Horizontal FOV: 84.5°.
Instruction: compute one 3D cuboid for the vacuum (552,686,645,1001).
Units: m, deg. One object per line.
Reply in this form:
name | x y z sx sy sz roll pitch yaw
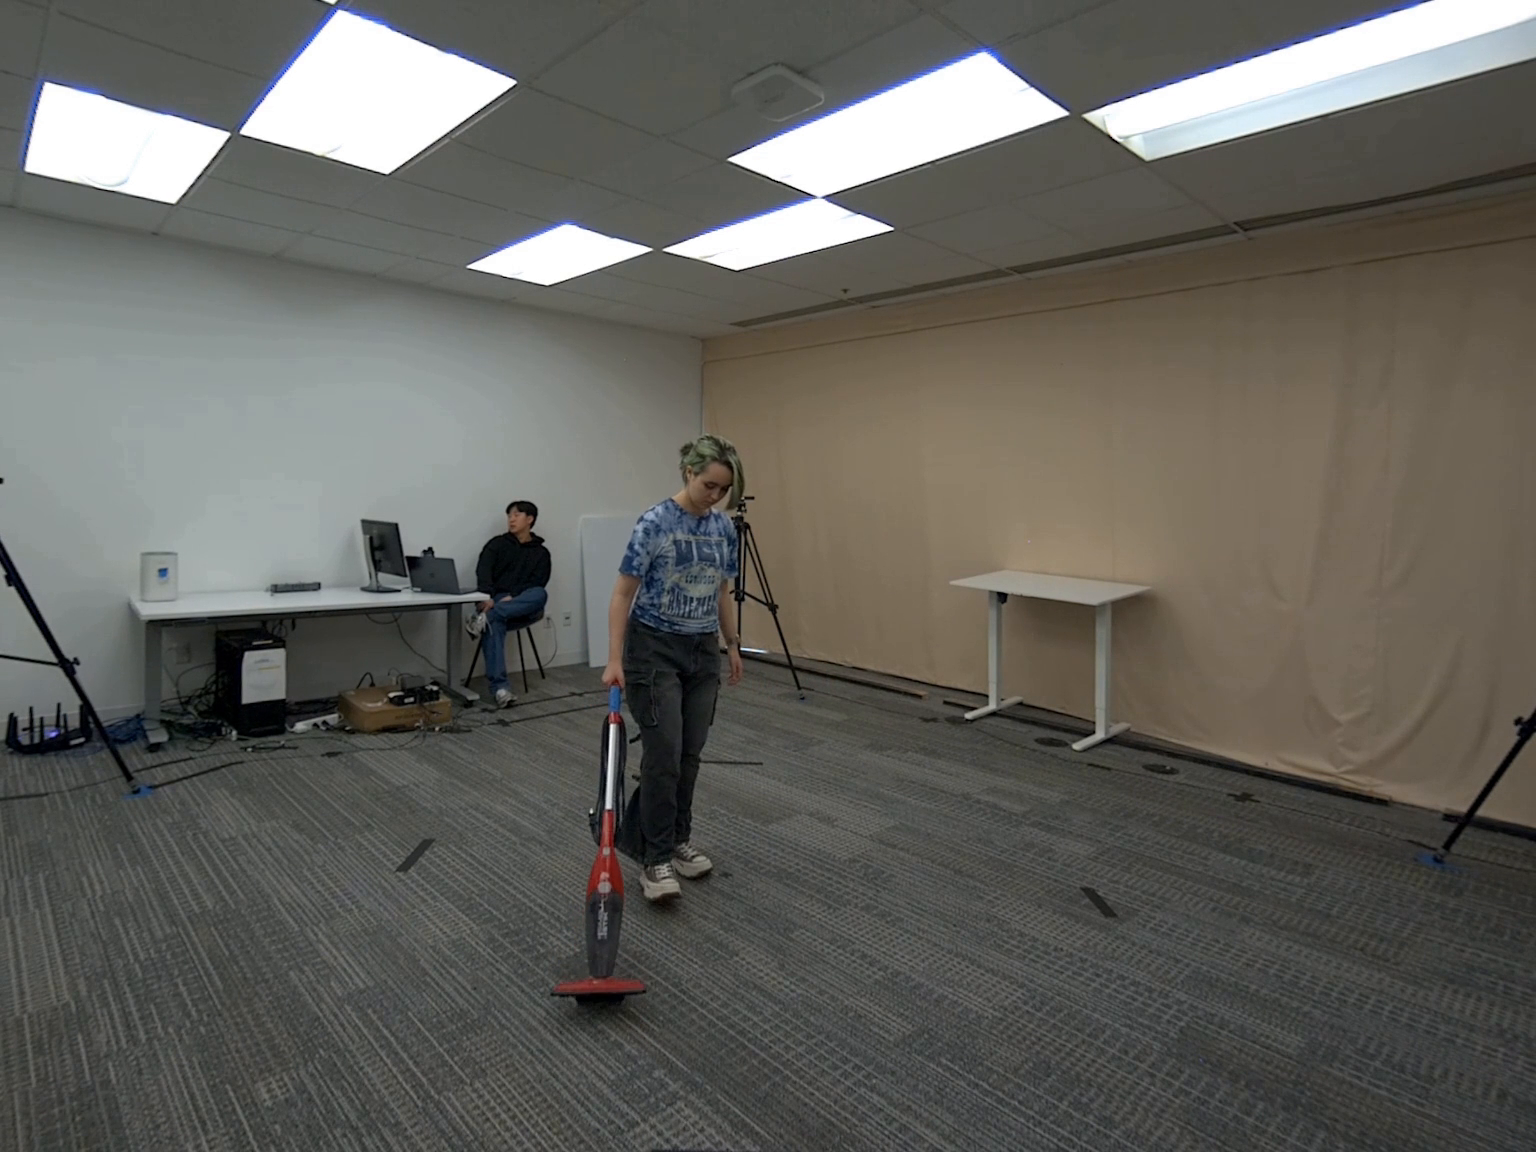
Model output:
vacuum | -0.501 0.751 2.627 0.251 0.141 1.075 -1 46 -6
